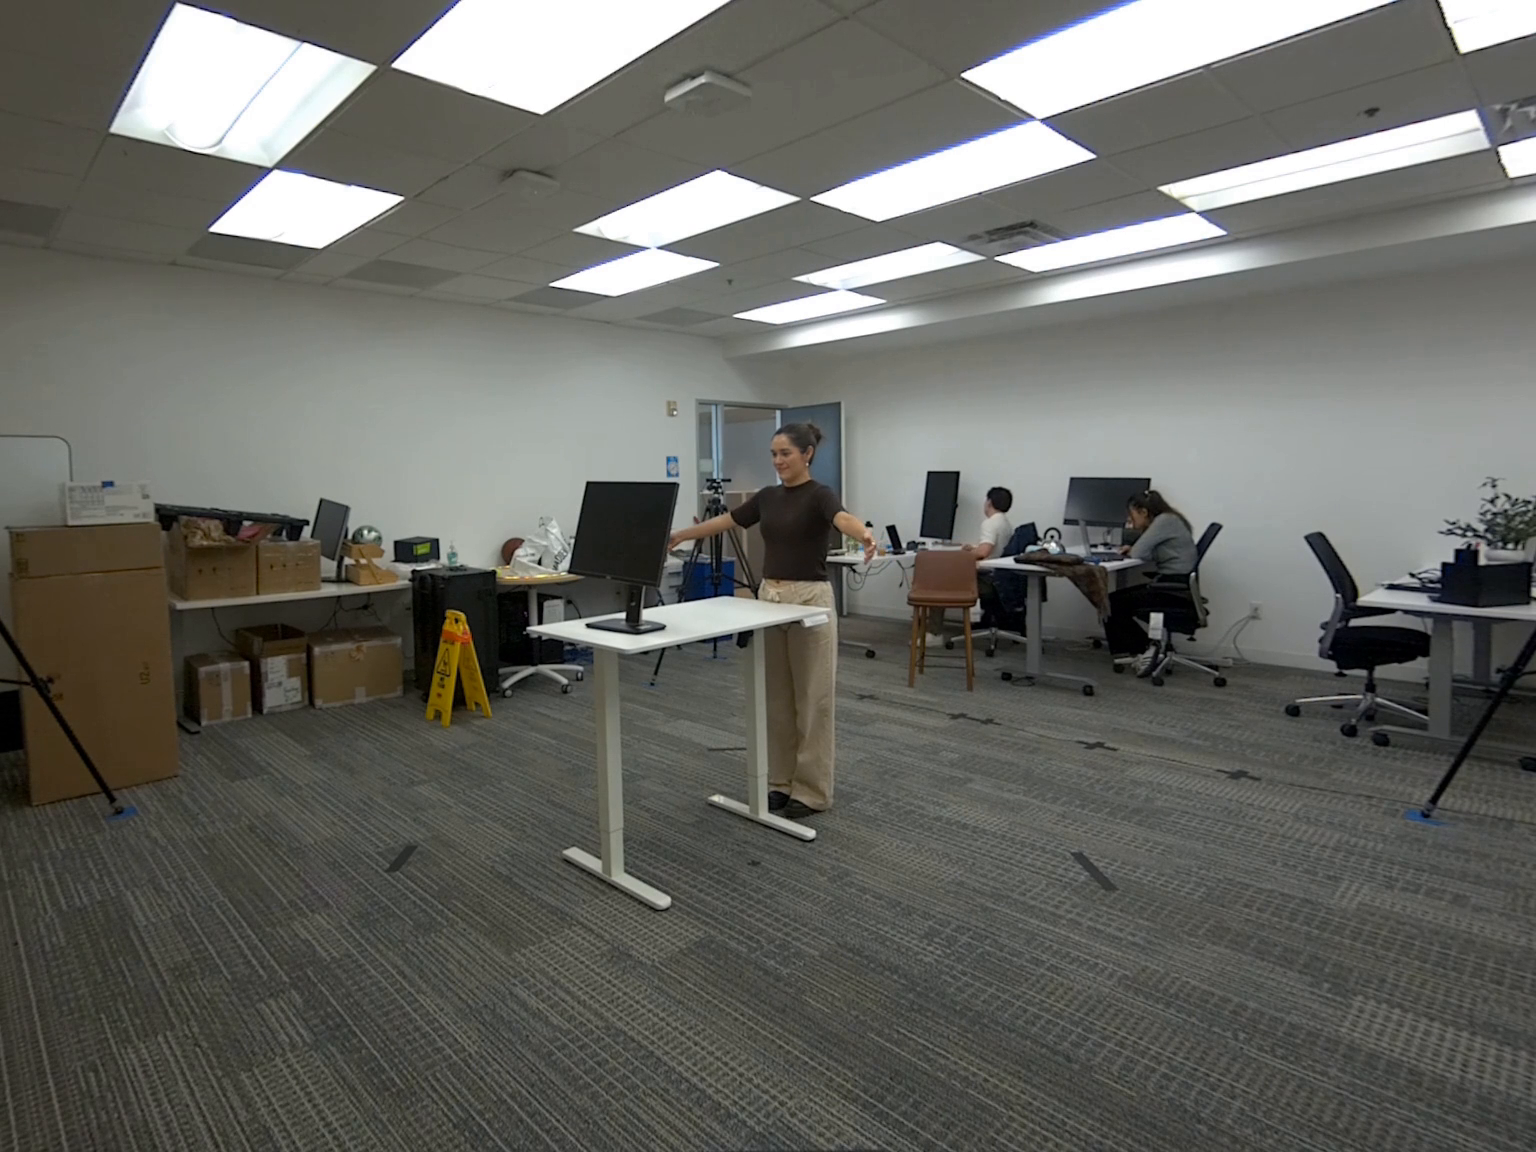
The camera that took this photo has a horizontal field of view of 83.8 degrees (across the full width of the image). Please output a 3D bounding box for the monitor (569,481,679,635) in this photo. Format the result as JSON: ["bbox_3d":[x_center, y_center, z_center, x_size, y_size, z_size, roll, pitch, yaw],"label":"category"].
[{"bbox_3d":[-0.495,-0.068,2.999,0.556,0.521,0.182,5,5,44],"label":"monitor"}]
